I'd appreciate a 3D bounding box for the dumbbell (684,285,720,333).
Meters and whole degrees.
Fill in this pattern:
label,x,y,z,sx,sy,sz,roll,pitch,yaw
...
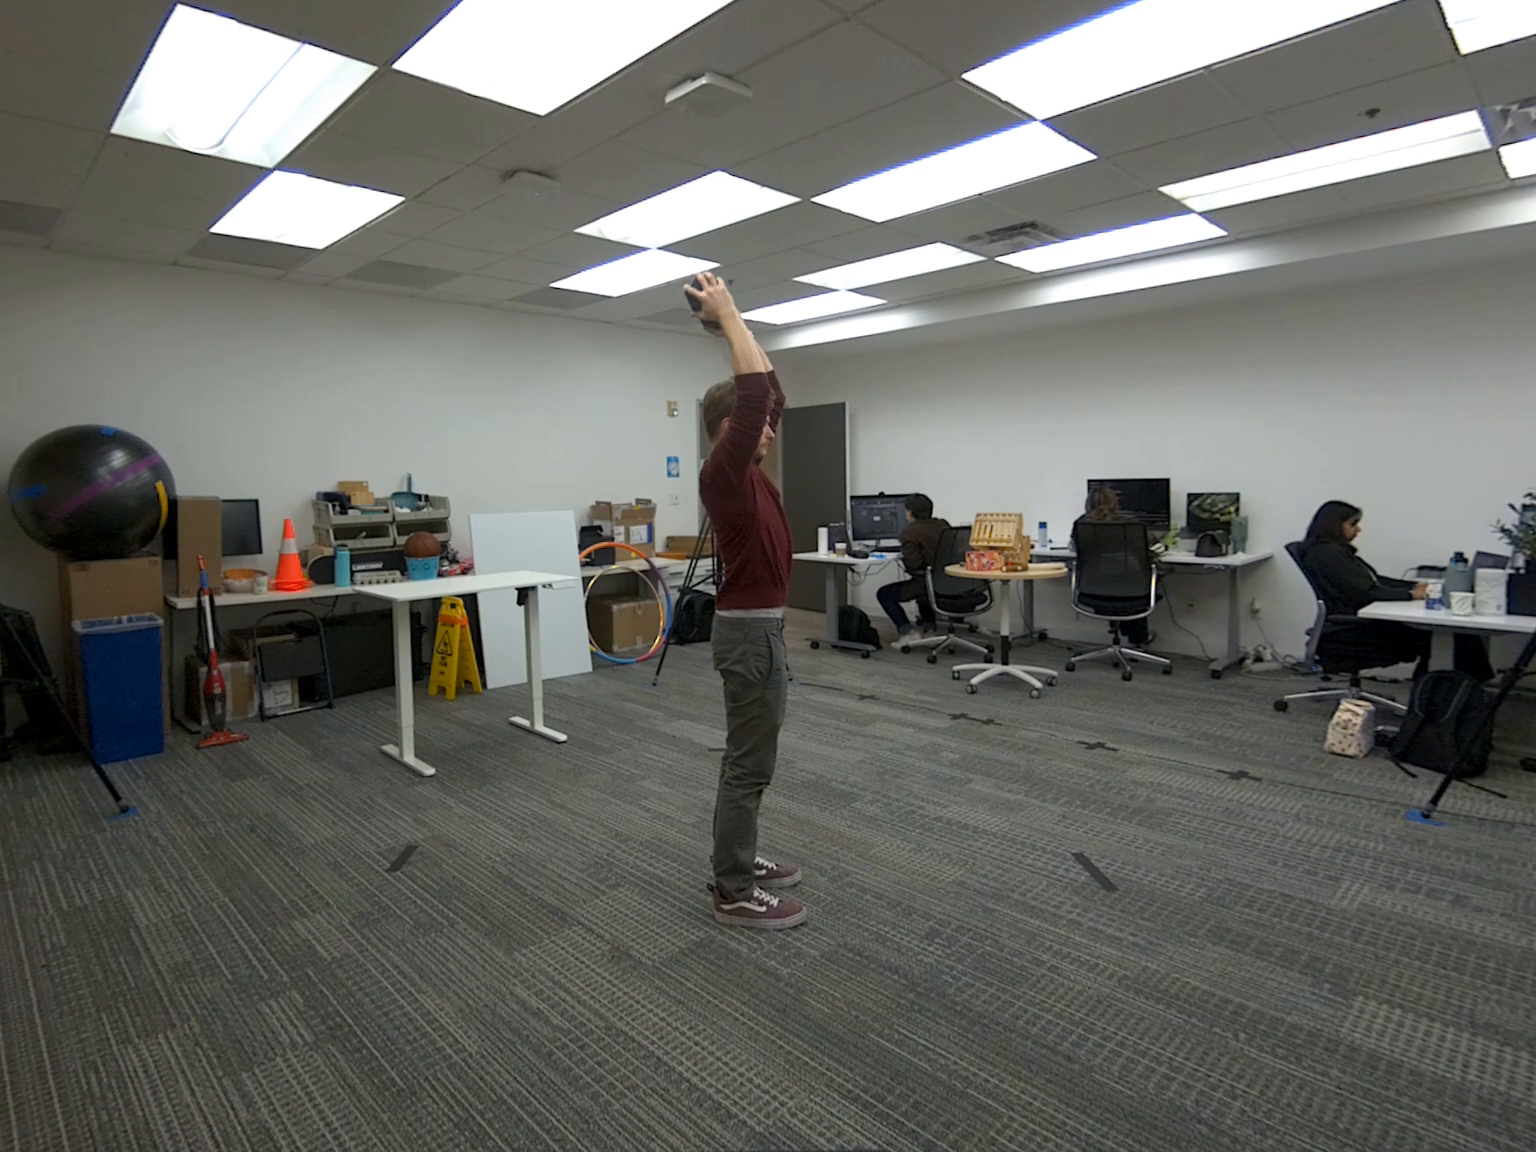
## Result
label,x,y,z,sx,sy,sz,roll,pitch,yaw
dumbbell,-0.176,-0.858,2.713,0.123,0.108,0.293,2,5,2
